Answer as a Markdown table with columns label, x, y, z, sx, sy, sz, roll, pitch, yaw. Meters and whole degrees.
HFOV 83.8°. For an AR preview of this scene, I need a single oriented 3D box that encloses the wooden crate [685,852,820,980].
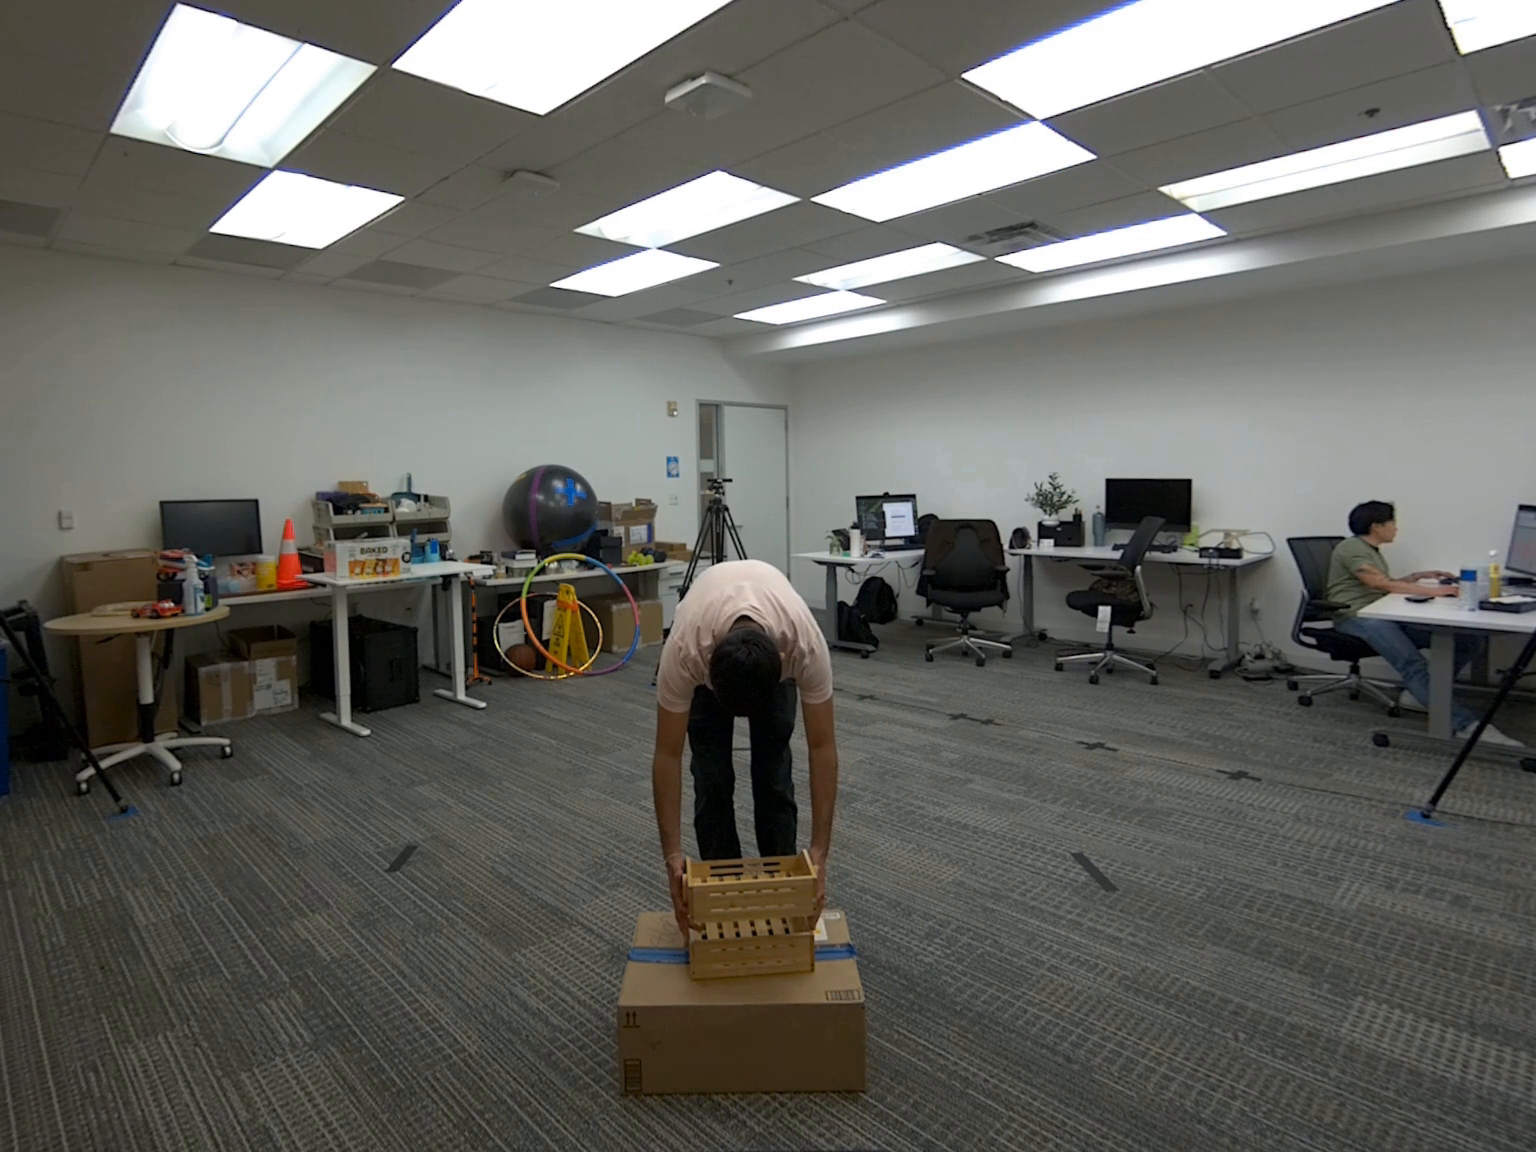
| label | x | y | z | sx | sy | sz | roll | pitch | yaw |
| --- | --- | --- | --- | --- | --- | --- | --- | --- | --- |
| wooden crate | -0.054 | 0.820 | 2.139 | 0.323 | 0.272 | 0.305 | -2 | 6 | -6 |
